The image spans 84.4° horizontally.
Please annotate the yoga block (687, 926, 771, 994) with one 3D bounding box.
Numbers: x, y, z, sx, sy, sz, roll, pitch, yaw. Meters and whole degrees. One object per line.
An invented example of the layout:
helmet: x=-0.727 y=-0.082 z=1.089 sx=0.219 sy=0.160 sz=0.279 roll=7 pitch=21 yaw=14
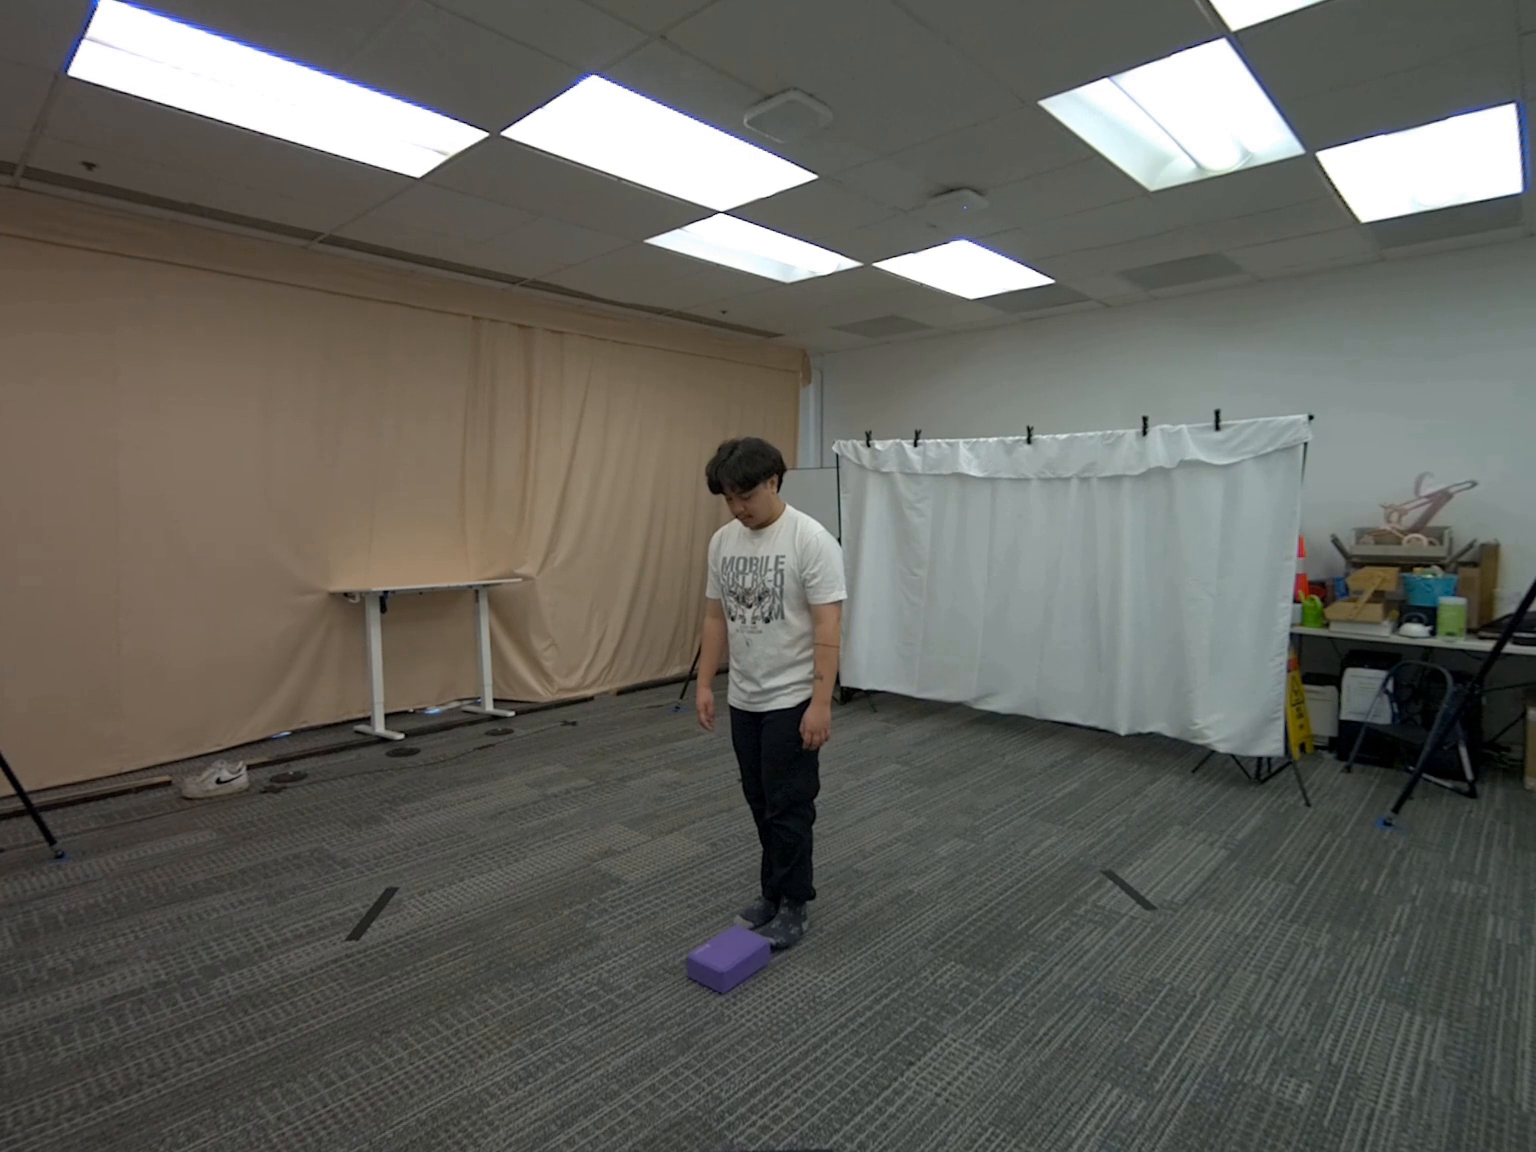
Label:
yoga block: x=-0.114 y=1.145 z=2.513 sx=0.154 sy=0.076 sz=0.223 roll=4 pitch=8 yaw=39
